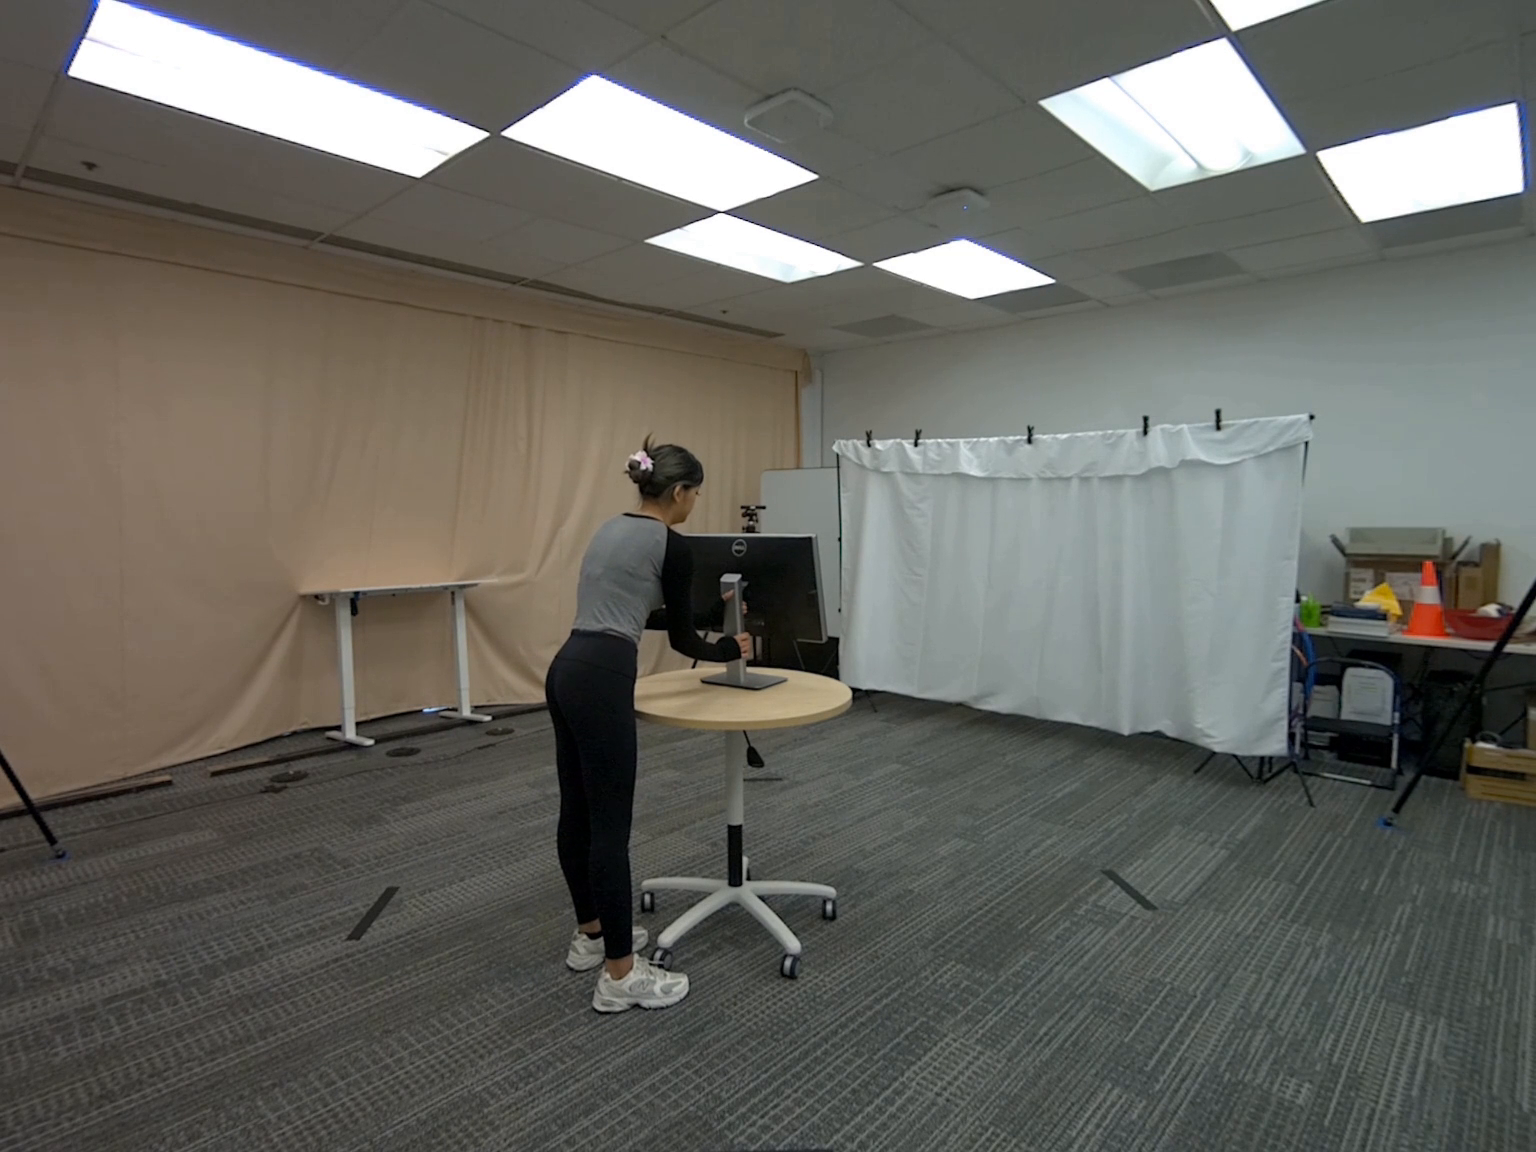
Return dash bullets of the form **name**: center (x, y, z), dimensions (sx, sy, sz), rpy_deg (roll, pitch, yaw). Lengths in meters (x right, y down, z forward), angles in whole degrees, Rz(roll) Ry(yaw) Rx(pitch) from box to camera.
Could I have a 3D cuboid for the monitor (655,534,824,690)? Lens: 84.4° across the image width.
- **monitor**: center (-0.079, 0.115, 2.874), dimensions (0.546, 0.517, 0.169), rpy_deg (1, -5, 35)
